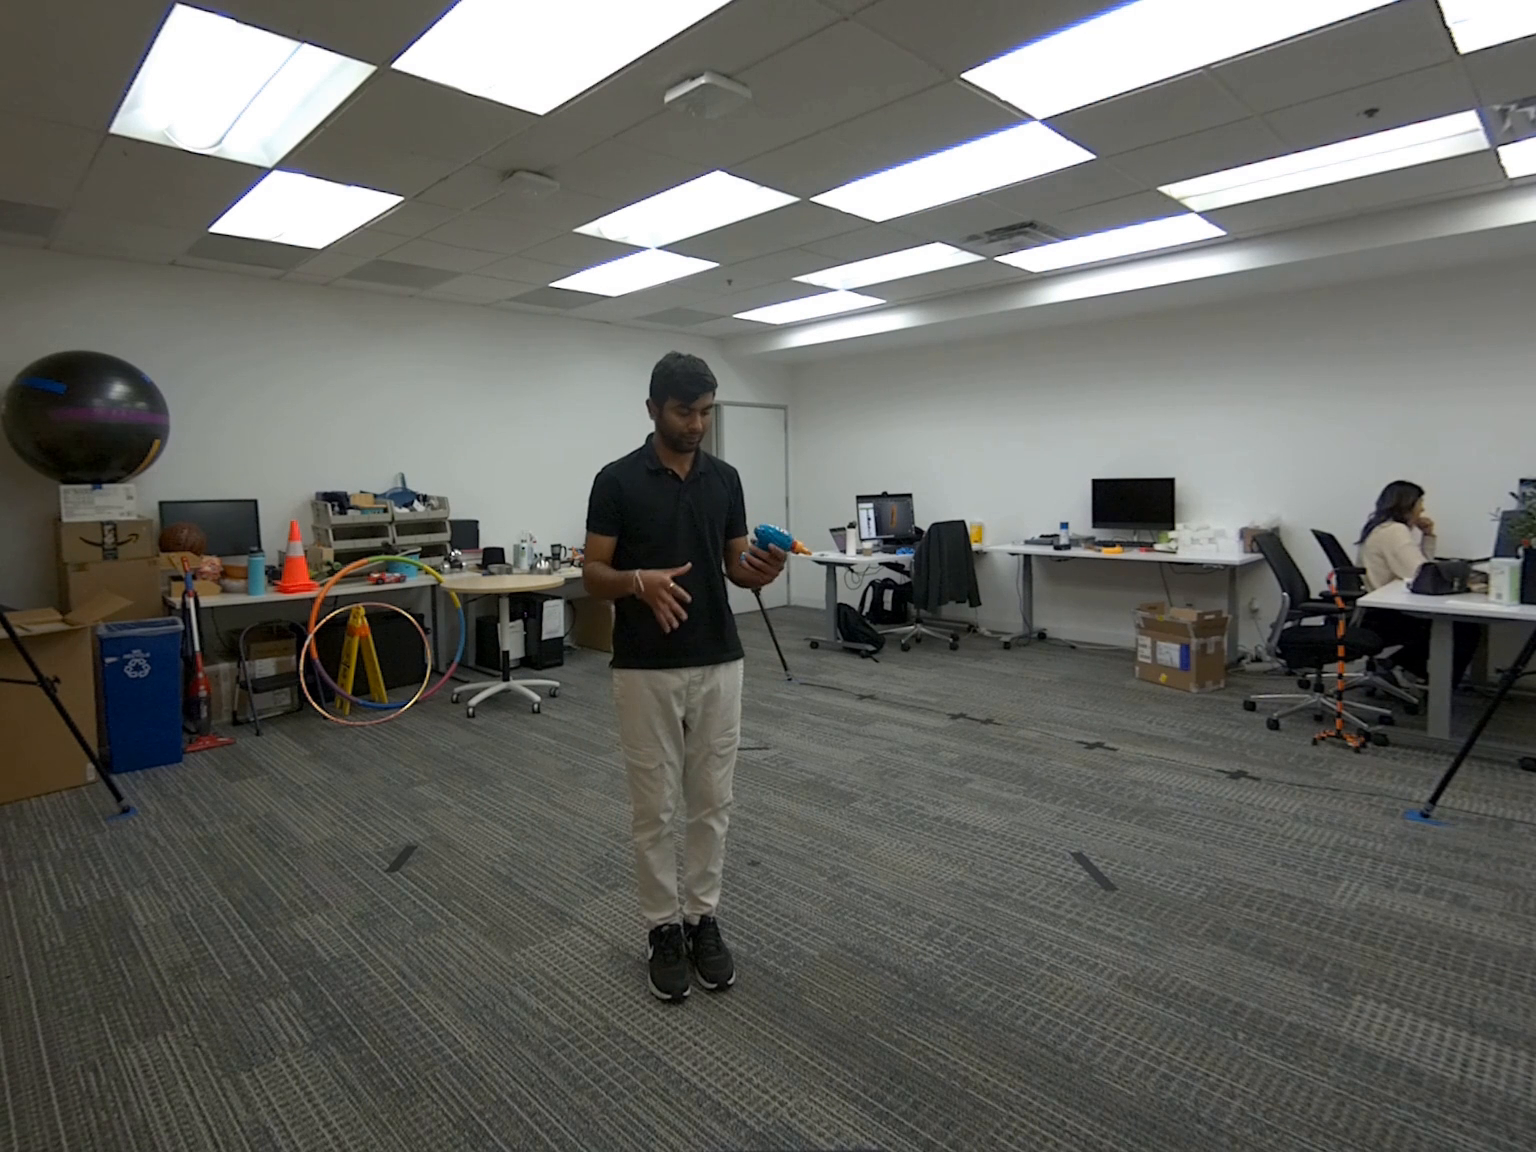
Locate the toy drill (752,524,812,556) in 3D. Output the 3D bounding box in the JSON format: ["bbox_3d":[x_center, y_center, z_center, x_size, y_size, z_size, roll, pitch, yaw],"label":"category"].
[{"bbox_3d":[0.006,-0.065,2.214,0.166,0.063,0.145,21,-47,-19],"label":"toy drill"}]
